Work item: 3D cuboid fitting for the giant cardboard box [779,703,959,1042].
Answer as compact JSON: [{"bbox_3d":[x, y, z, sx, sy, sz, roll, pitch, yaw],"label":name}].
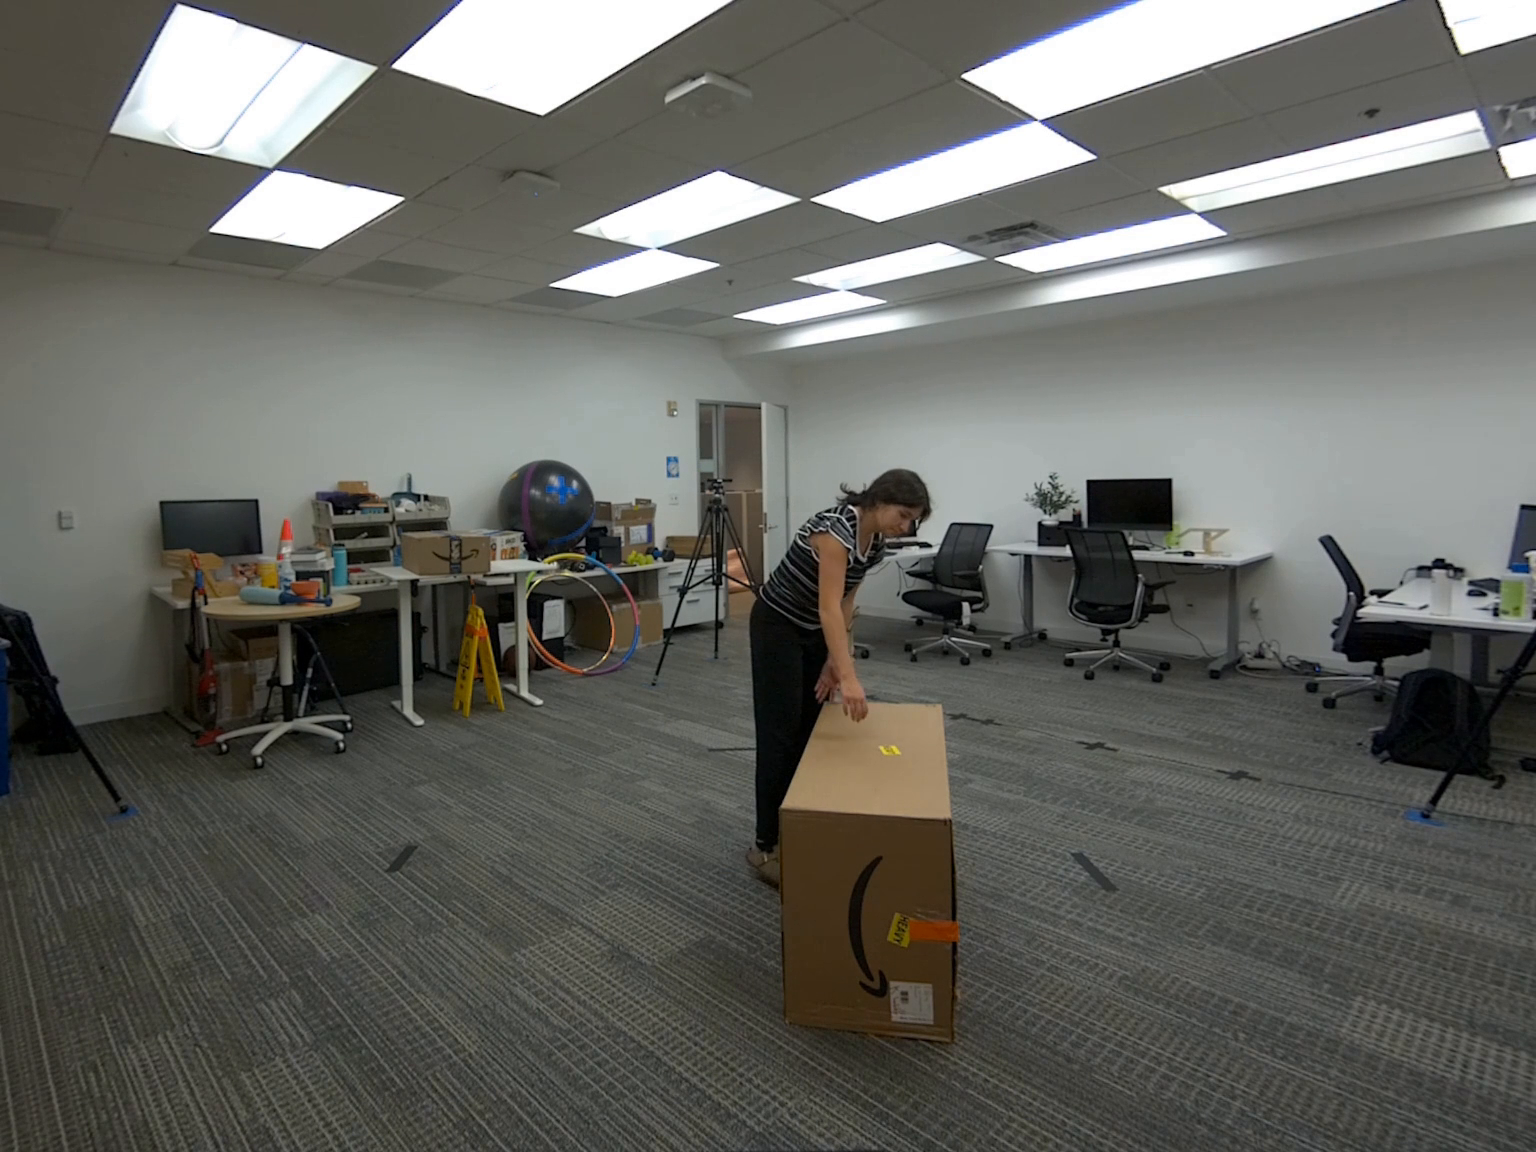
[{"bbox_3d":[0.342,0.804,2.611,0.431,0.575,1.019,0,6,11],"label":"giant cardboard box"}]
